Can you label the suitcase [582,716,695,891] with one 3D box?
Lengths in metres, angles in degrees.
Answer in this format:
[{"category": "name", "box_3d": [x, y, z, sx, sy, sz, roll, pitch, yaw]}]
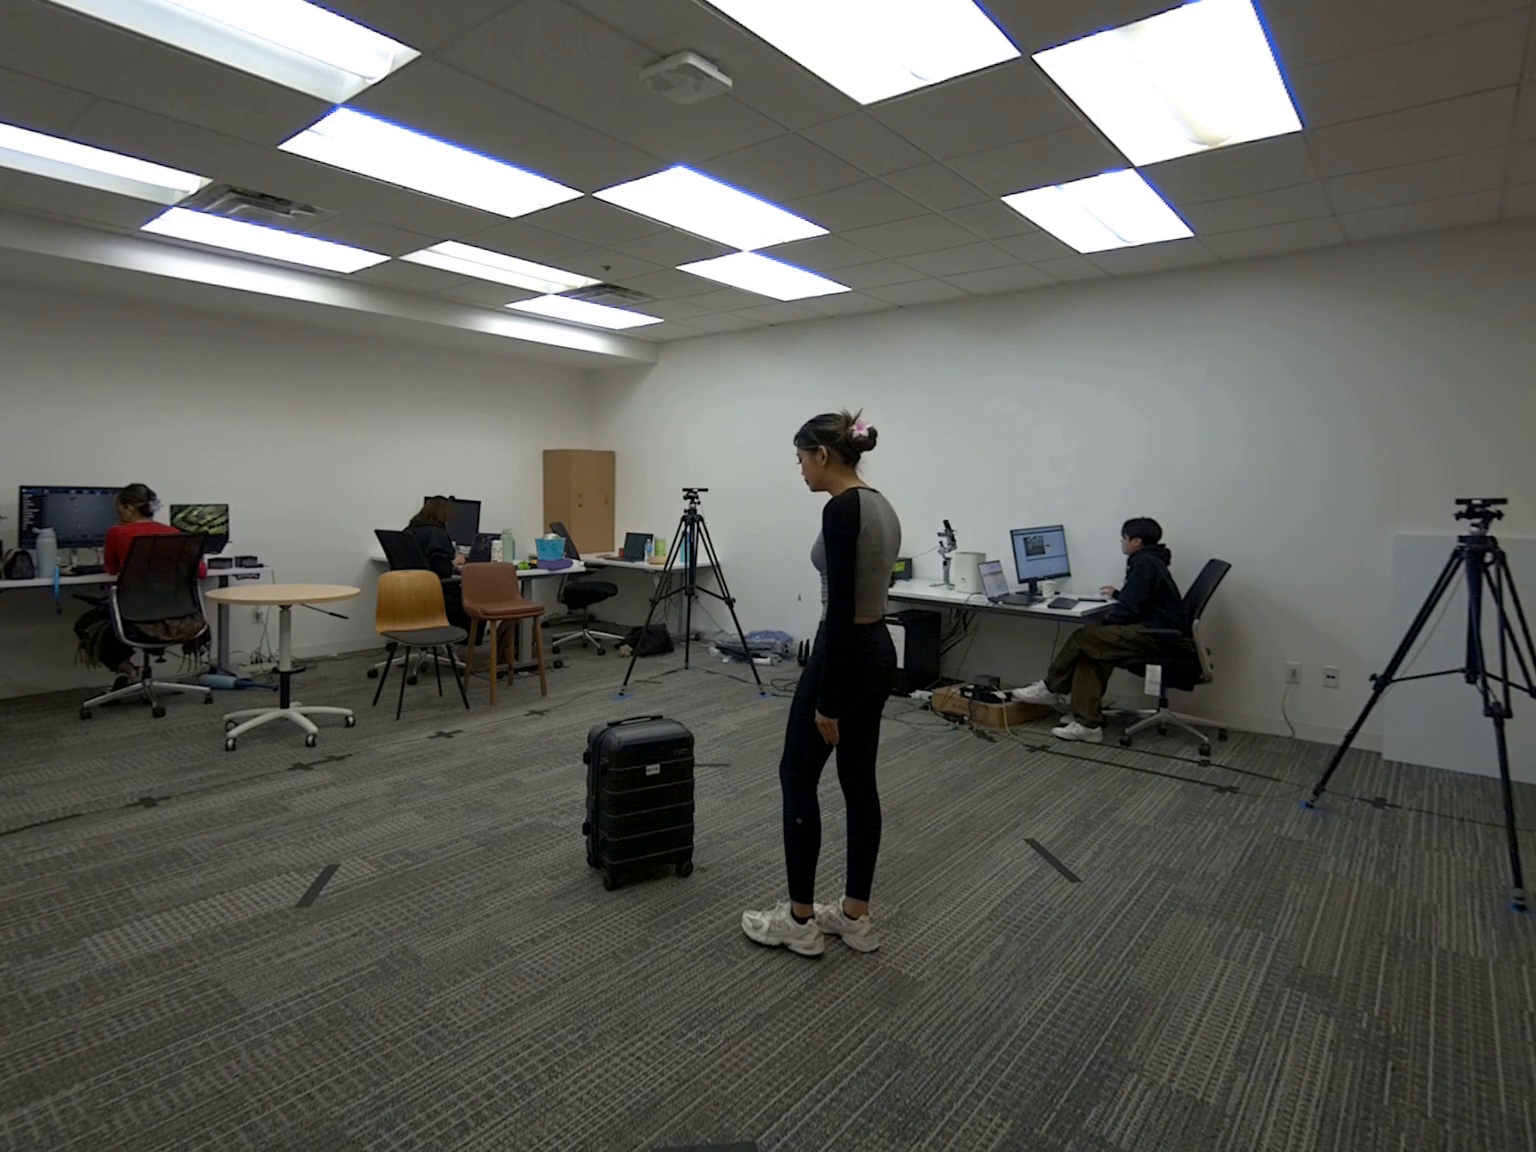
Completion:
[{"category": "suitcase", "box_3d": [-0.468, 0.790, 3.077, 0.365, 0.548, 0.256, 0, 4, -31]}]
